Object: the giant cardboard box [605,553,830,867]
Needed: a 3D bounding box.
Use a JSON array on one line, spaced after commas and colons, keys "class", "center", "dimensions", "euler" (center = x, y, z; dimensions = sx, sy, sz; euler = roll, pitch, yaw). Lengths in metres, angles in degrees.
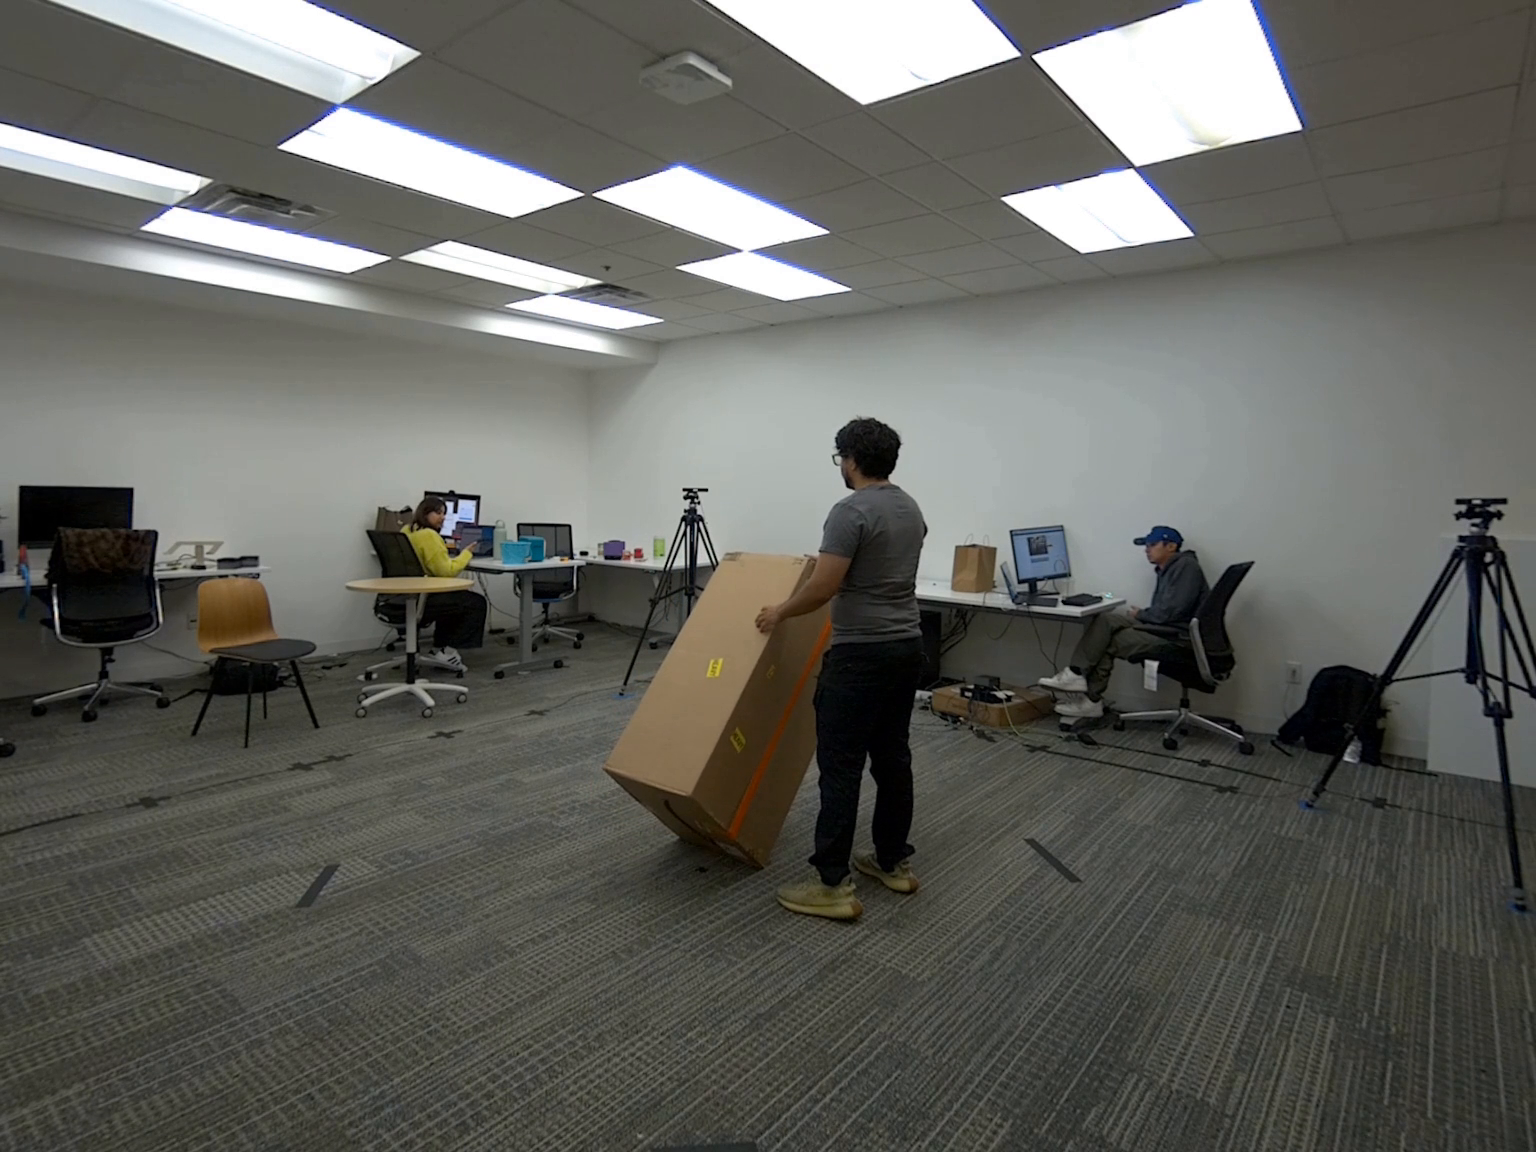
[{"class": "giant cardboard box", "center": [-0.103, 0.488, 3.332], "dimensions": [0.440, 1.034, 0.554], "euler": [4, -37, 37]}]
